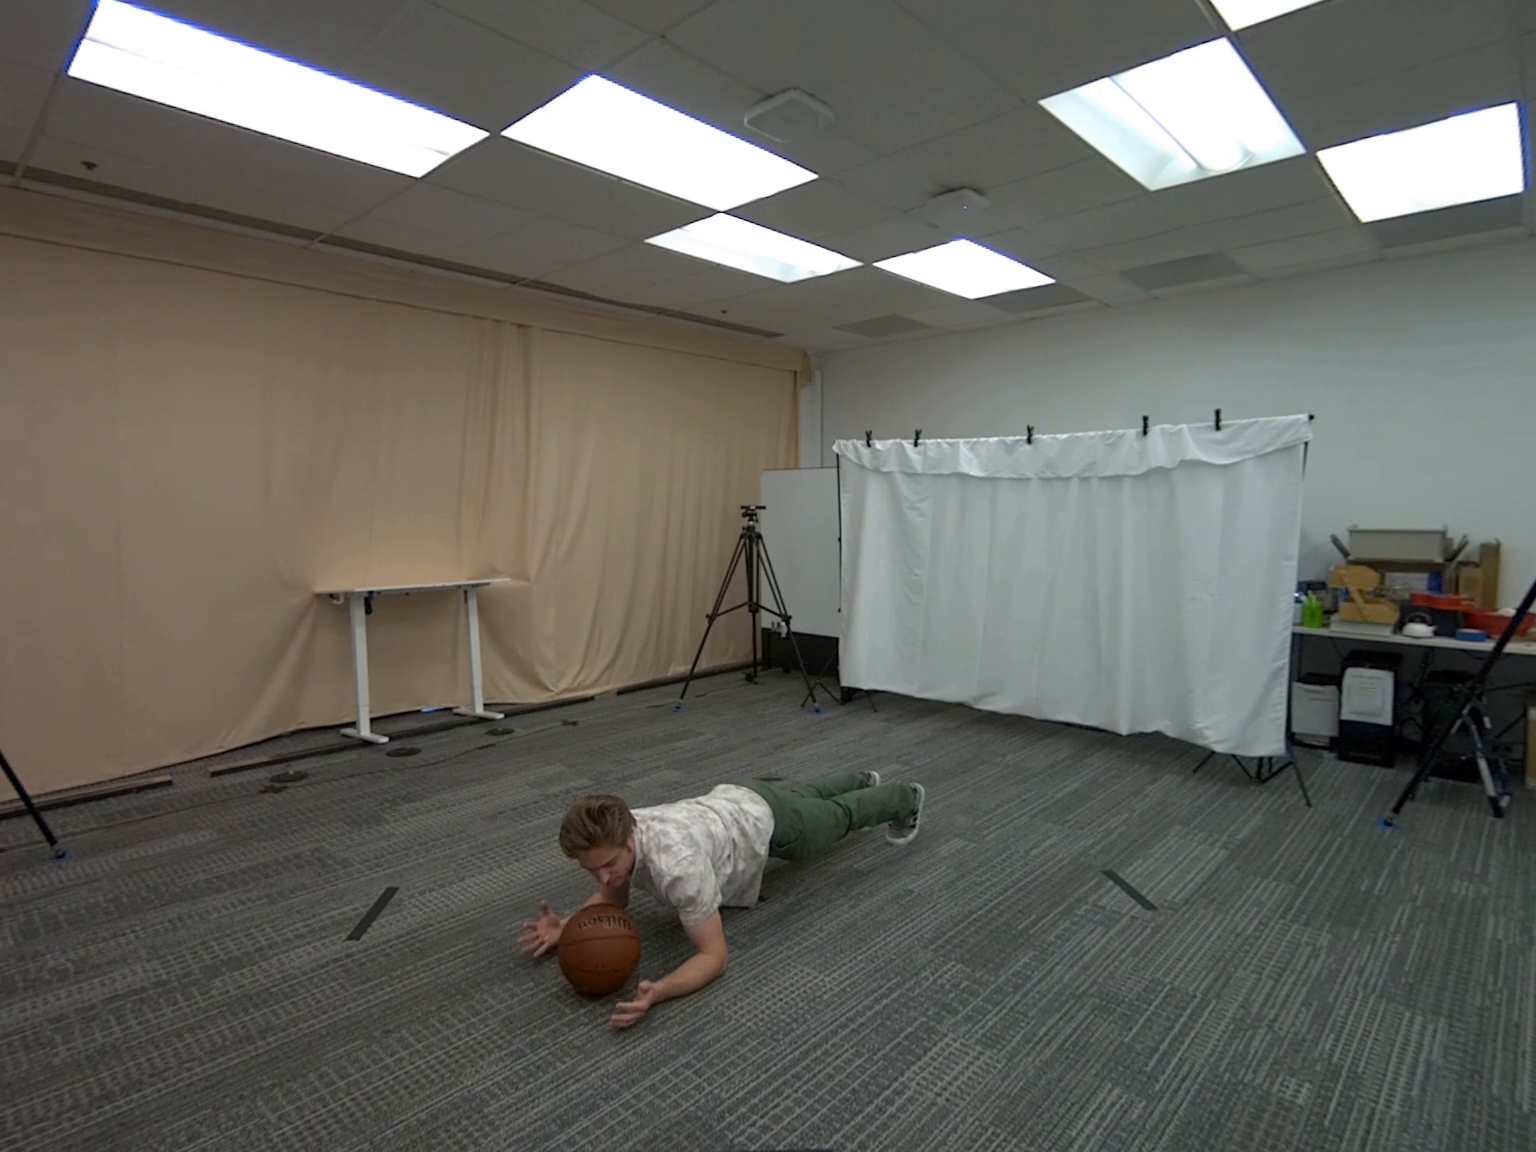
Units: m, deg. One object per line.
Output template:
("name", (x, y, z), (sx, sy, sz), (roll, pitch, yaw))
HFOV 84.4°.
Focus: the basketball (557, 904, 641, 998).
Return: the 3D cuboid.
("basketball", (-0.489, 1.068, 2.433), (0.236, 0.235, 0.237), (0, 4, -2))
